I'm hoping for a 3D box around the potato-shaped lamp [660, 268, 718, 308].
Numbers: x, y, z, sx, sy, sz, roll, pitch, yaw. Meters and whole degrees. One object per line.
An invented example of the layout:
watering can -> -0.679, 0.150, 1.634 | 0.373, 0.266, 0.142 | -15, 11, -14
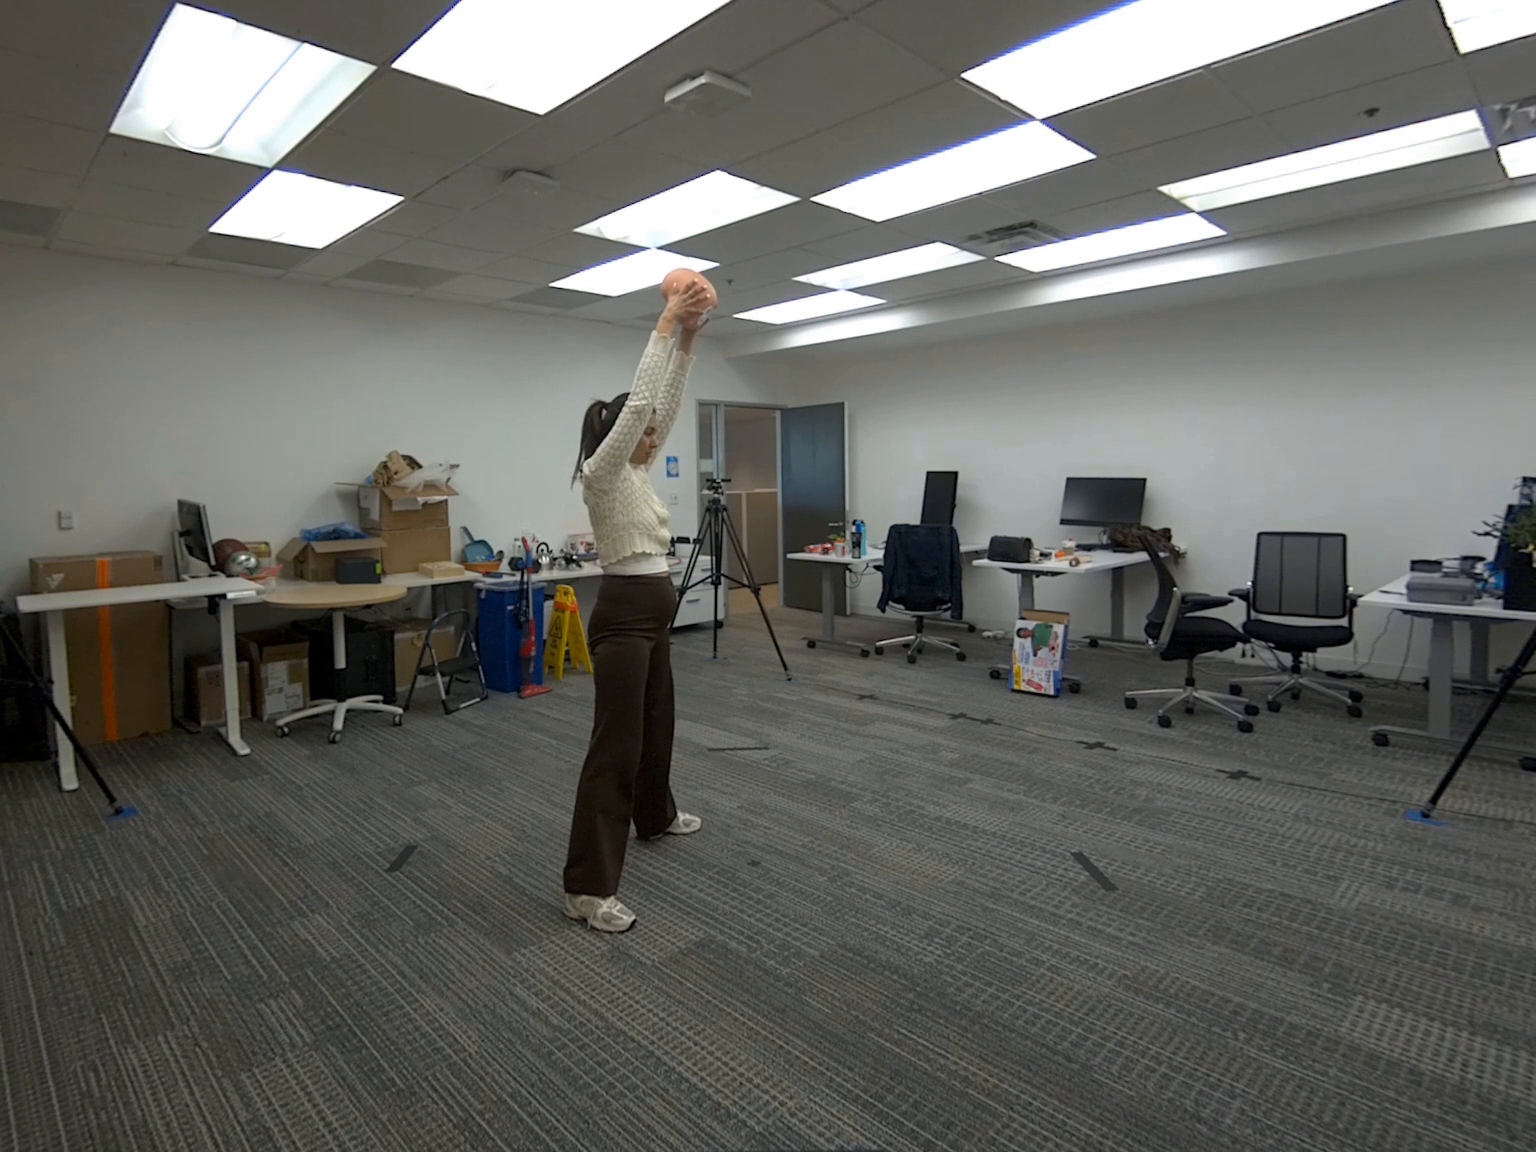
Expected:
potato-shaped lamp -> -0.270, -0.955, 2.906 | 0.199, 0.171, 0.164 | 43, 14, 4
